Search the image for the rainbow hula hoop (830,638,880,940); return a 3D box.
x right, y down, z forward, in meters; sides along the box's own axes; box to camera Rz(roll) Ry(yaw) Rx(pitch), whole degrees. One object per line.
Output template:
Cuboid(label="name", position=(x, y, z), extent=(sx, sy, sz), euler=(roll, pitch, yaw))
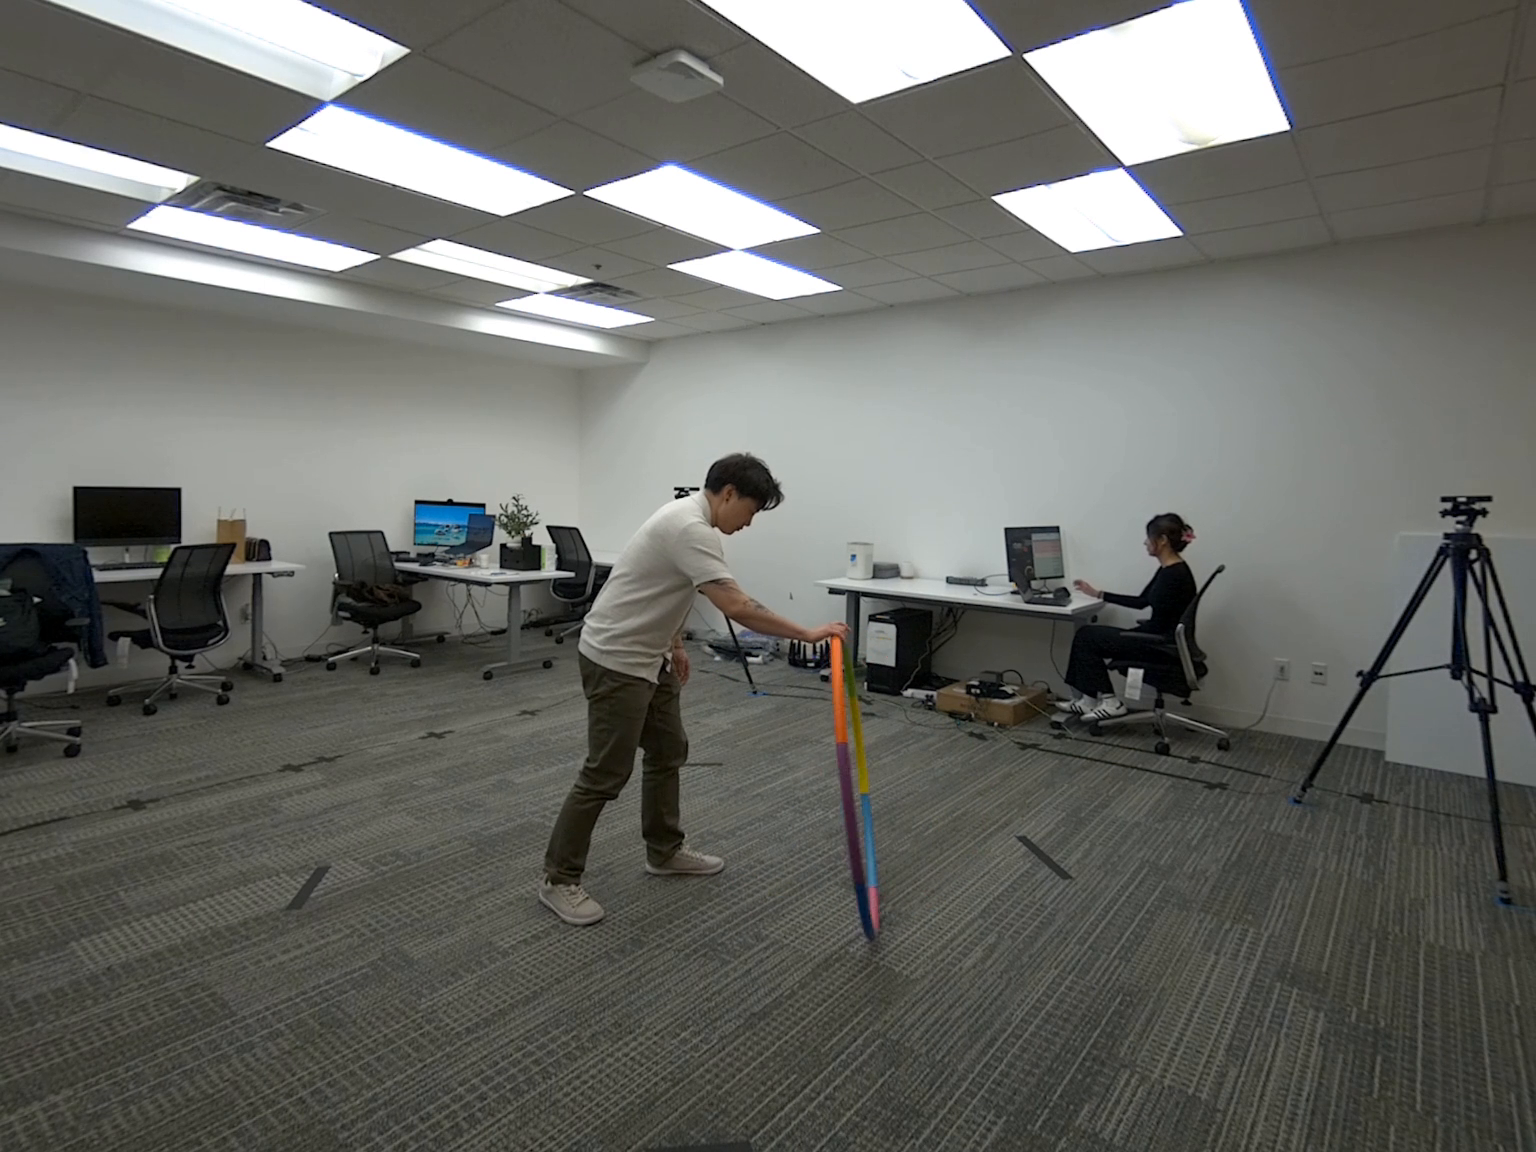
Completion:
Cuboid(label="rainbow hula hoop", position=(0.272, 0.640, 2.732), extent=(0.036, 0.977, 0.972), euler=(-8, 3, 8))
